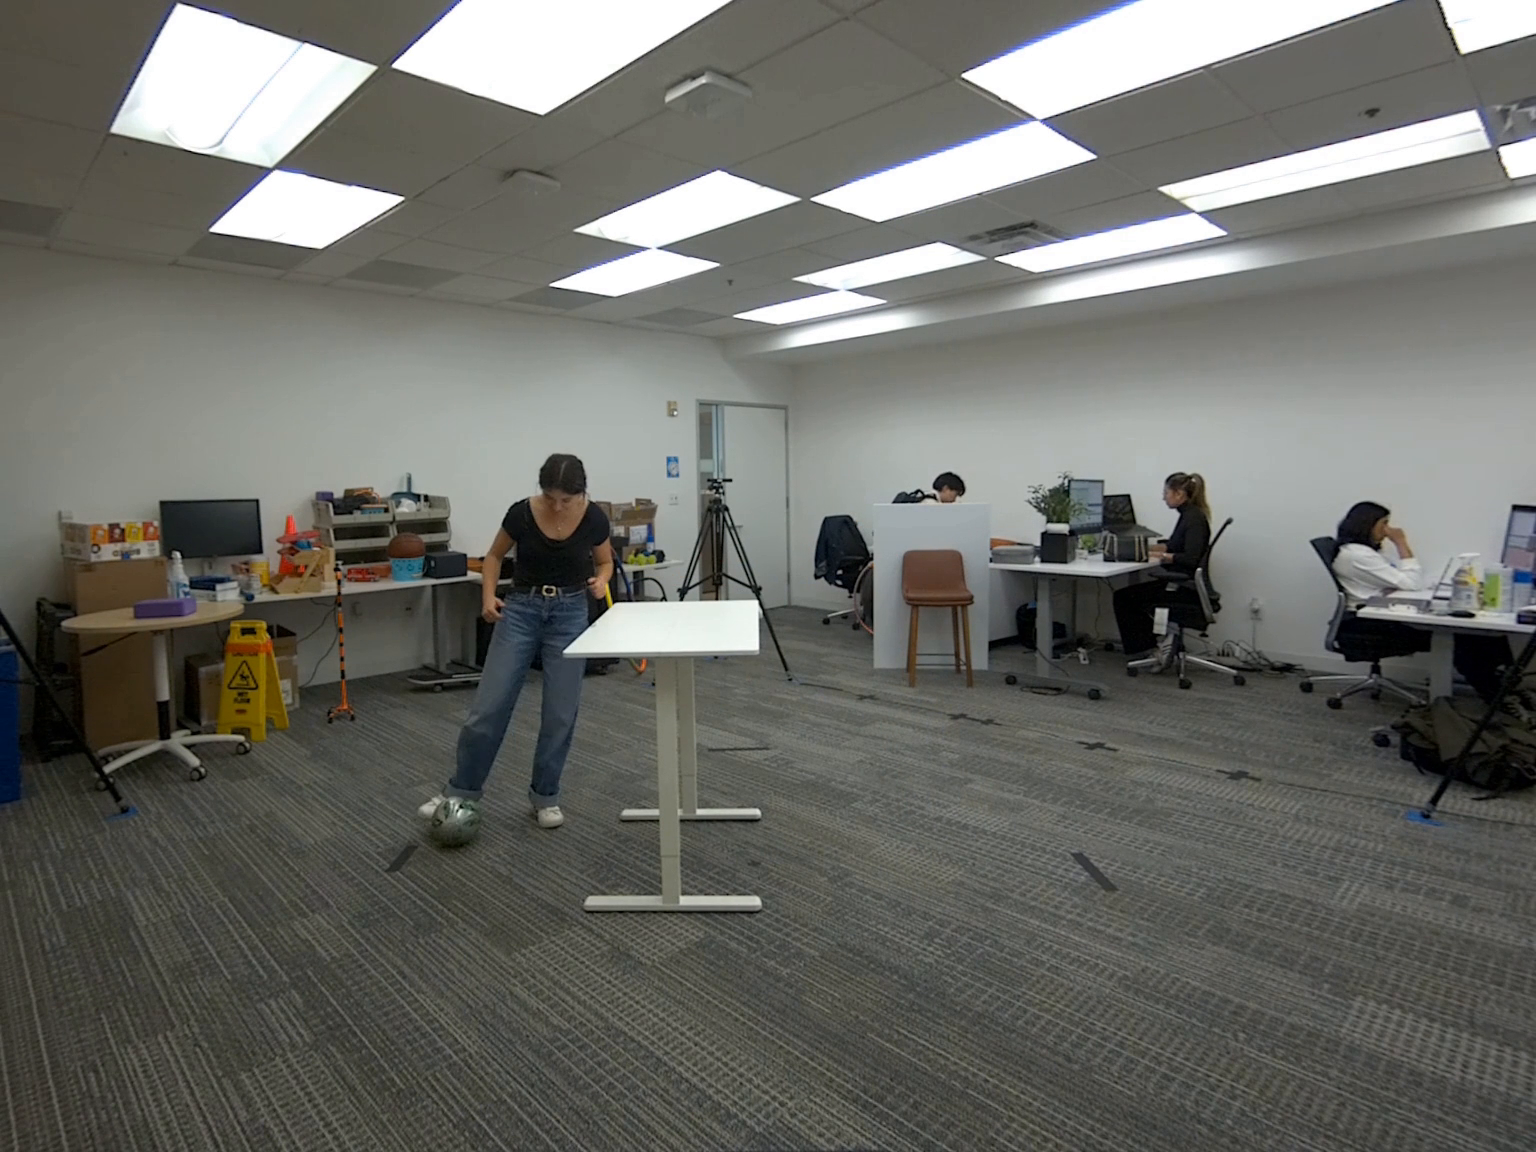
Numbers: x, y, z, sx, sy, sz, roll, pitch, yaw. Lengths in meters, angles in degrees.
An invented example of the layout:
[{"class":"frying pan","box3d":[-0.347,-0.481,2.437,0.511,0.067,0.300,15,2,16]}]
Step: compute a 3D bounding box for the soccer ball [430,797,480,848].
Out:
[{"class":"soccer ball","box3d":[-1.204,0.954,3.323,0.187,0.187,0.188,-1,5,-2]}]
